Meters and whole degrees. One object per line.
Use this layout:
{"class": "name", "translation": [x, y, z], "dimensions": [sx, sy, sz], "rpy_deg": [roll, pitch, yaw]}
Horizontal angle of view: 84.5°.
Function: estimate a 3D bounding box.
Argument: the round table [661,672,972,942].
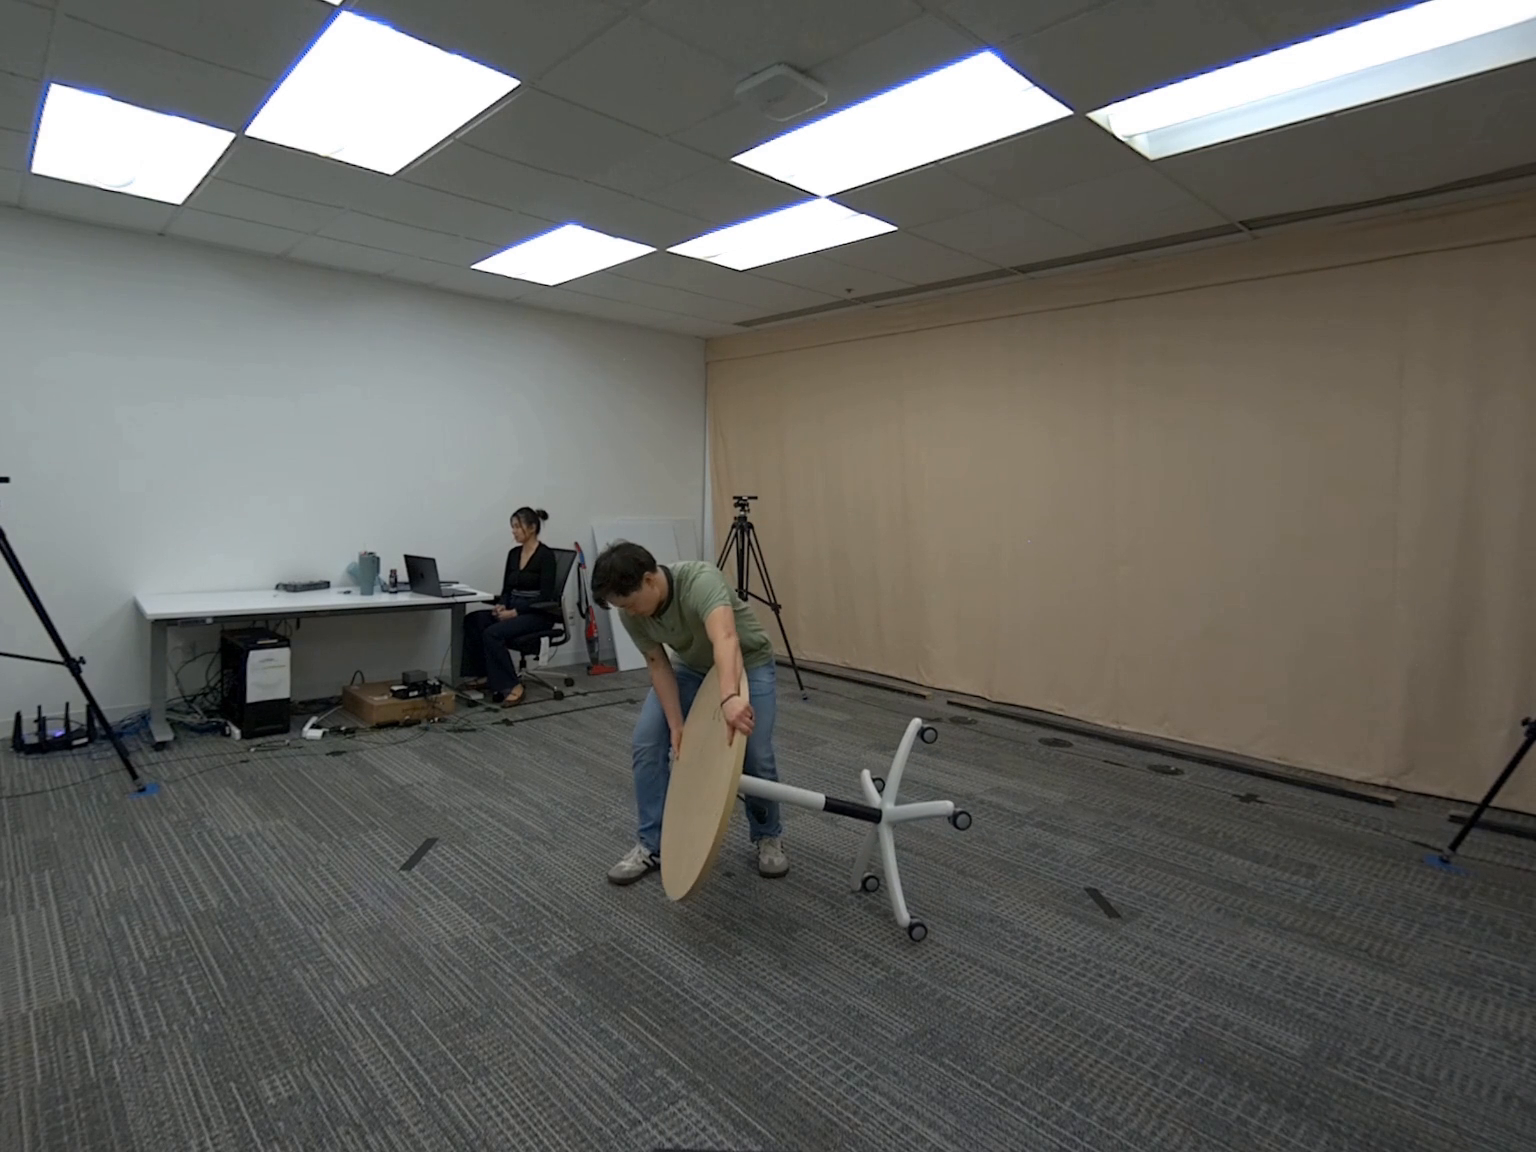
{"class": "round table", "translation": [0.136, 0.743, 2.789], "dimensions": [0.783, 0.764, 0.774], "rpy_deg": [17, 0, -14]}
